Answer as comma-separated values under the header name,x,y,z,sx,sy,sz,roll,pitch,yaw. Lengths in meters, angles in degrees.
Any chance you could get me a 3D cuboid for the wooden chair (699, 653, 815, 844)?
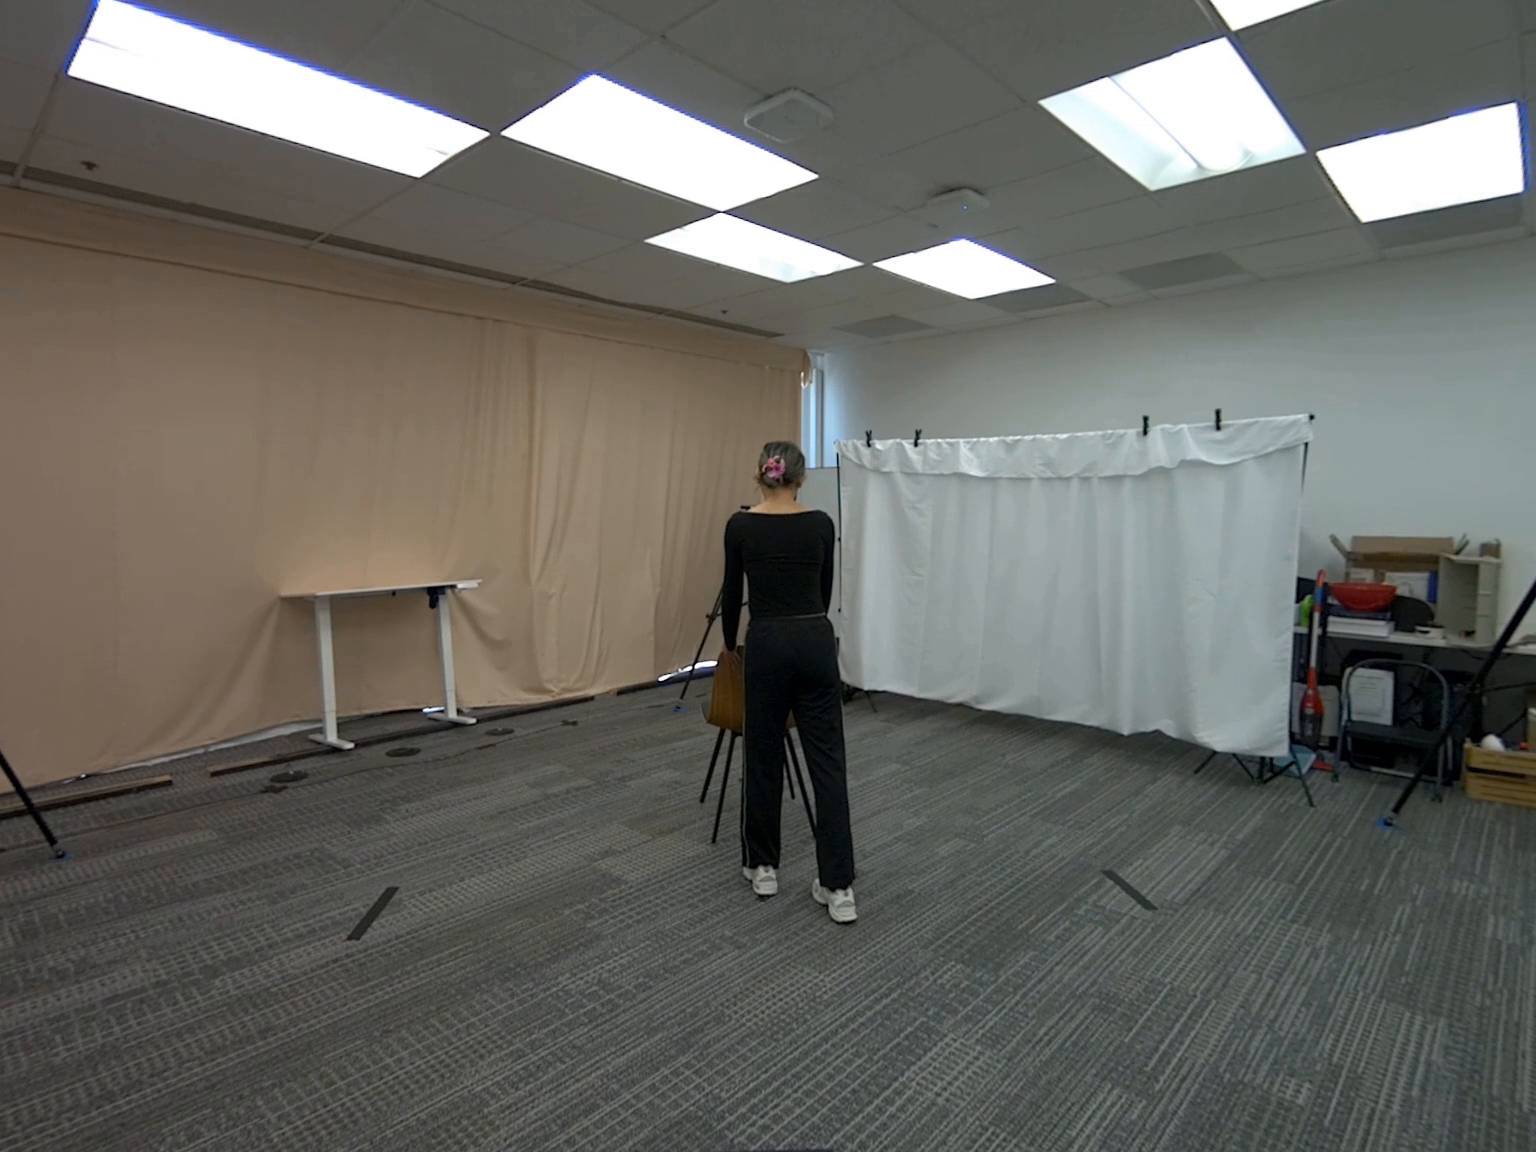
name,x,y,z,sx,sy,sz,roll,pitch,yaw
wooden chair,-0.059,0.650,3.685,0.474,0.872,0.531,-1,9,-9
